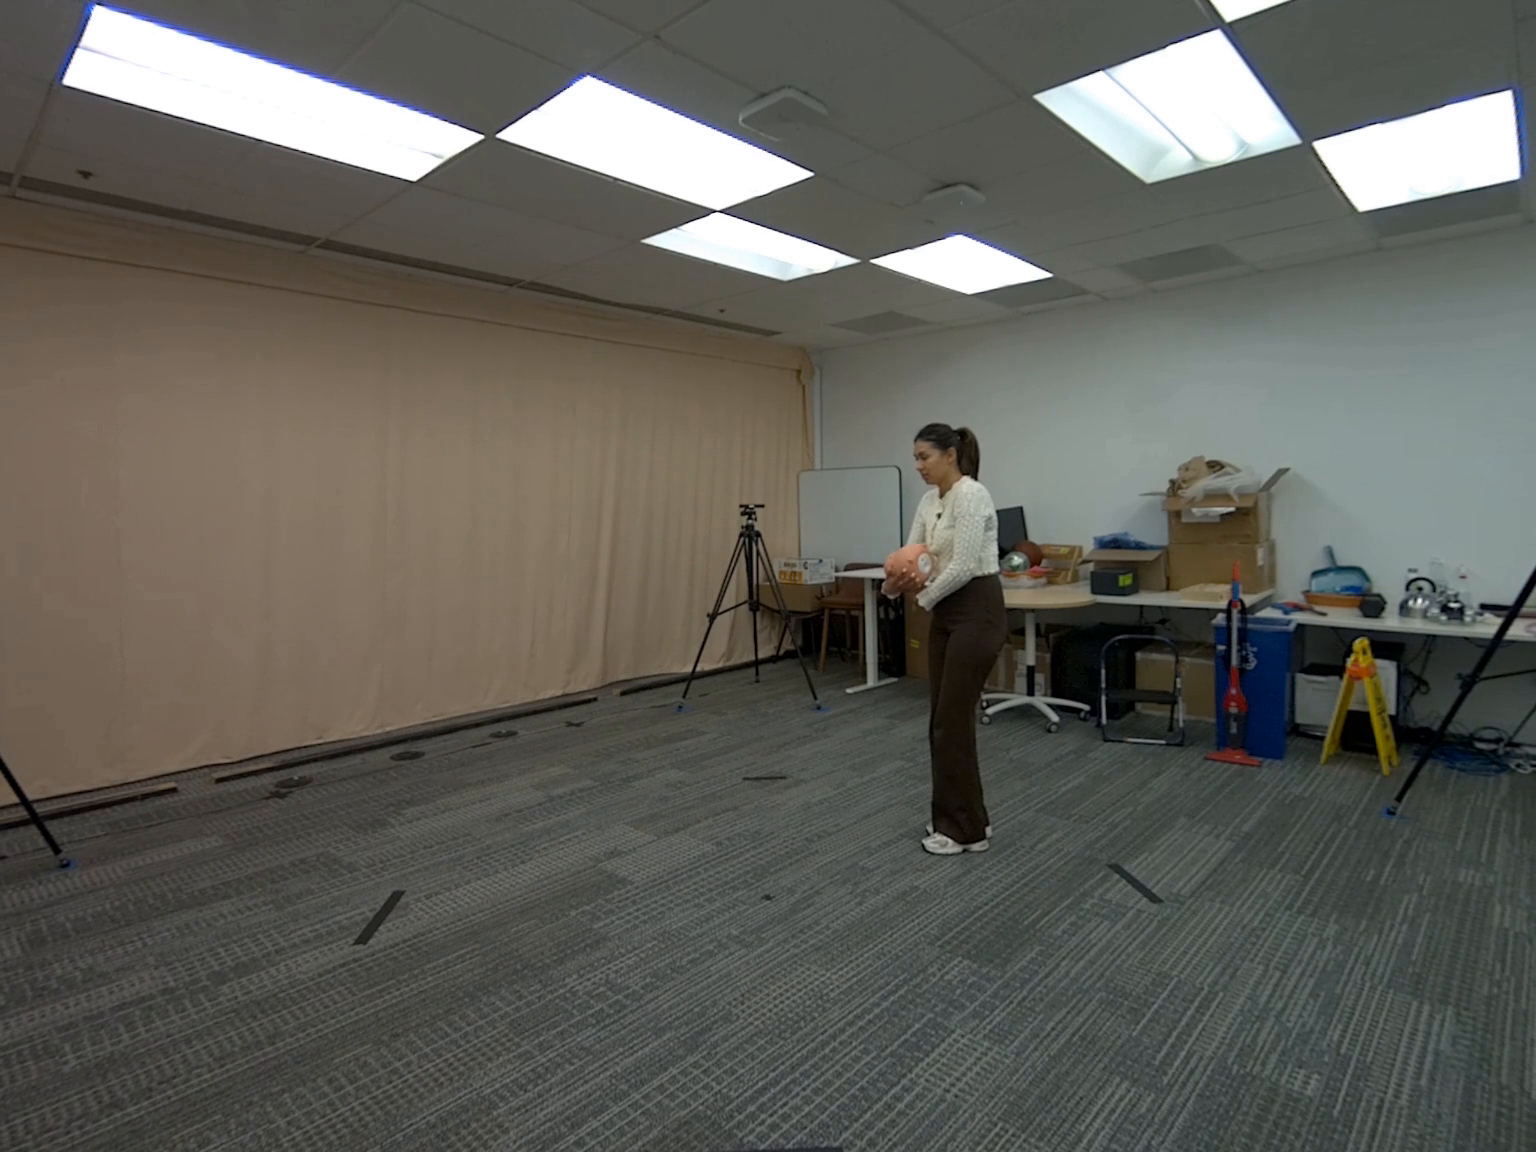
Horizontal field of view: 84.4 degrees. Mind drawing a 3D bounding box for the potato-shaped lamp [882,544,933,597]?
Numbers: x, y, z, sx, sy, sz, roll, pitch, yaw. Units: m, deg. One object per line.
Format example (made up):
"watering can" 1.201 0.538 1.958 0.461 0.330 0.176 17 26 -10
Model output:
"potato-shaped lamp" 0.571 -0.038 3.410 0.163 0.168 0.204 -43 24 -28
